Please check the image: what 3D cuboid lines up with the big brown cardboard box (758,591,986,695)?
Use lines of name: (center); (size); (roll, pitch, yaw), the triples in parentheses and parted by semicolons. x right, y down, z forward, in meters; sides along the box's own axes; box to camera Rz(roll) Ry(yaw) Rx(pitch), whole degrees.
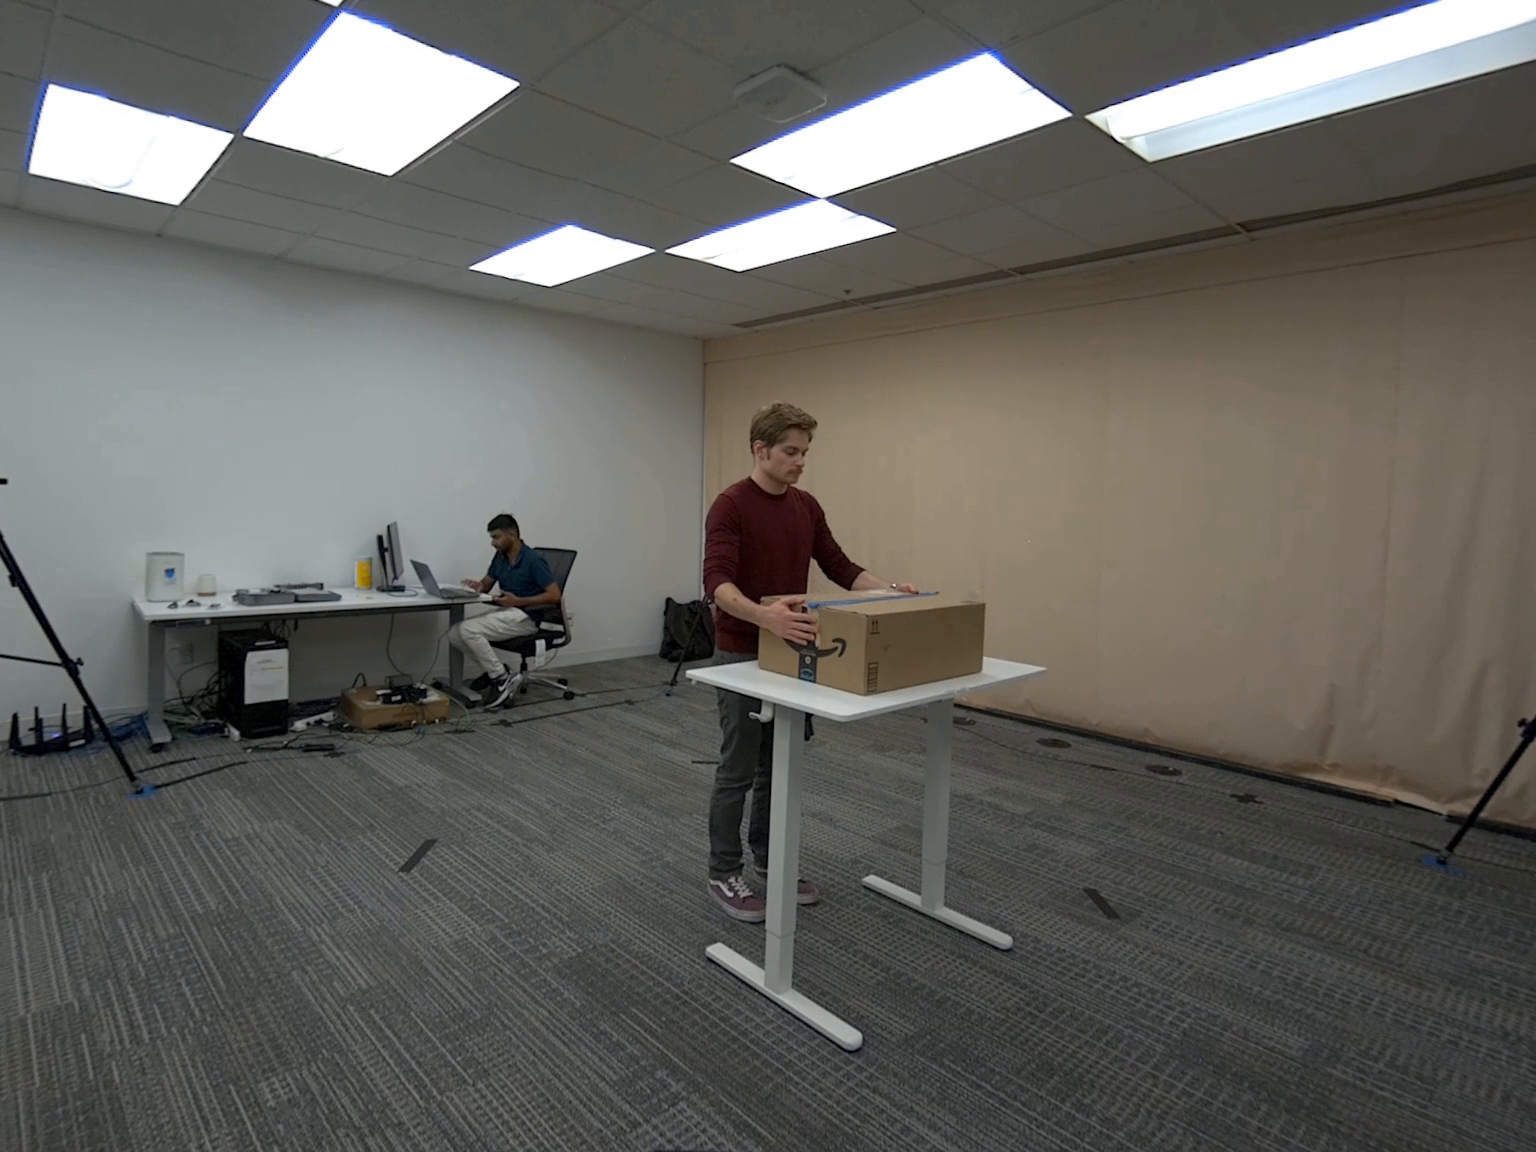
big brown cardboard box: (0.312, 0.179, 2.538); (0.575, 0.232, 0.428); (-3, 7, -43)
